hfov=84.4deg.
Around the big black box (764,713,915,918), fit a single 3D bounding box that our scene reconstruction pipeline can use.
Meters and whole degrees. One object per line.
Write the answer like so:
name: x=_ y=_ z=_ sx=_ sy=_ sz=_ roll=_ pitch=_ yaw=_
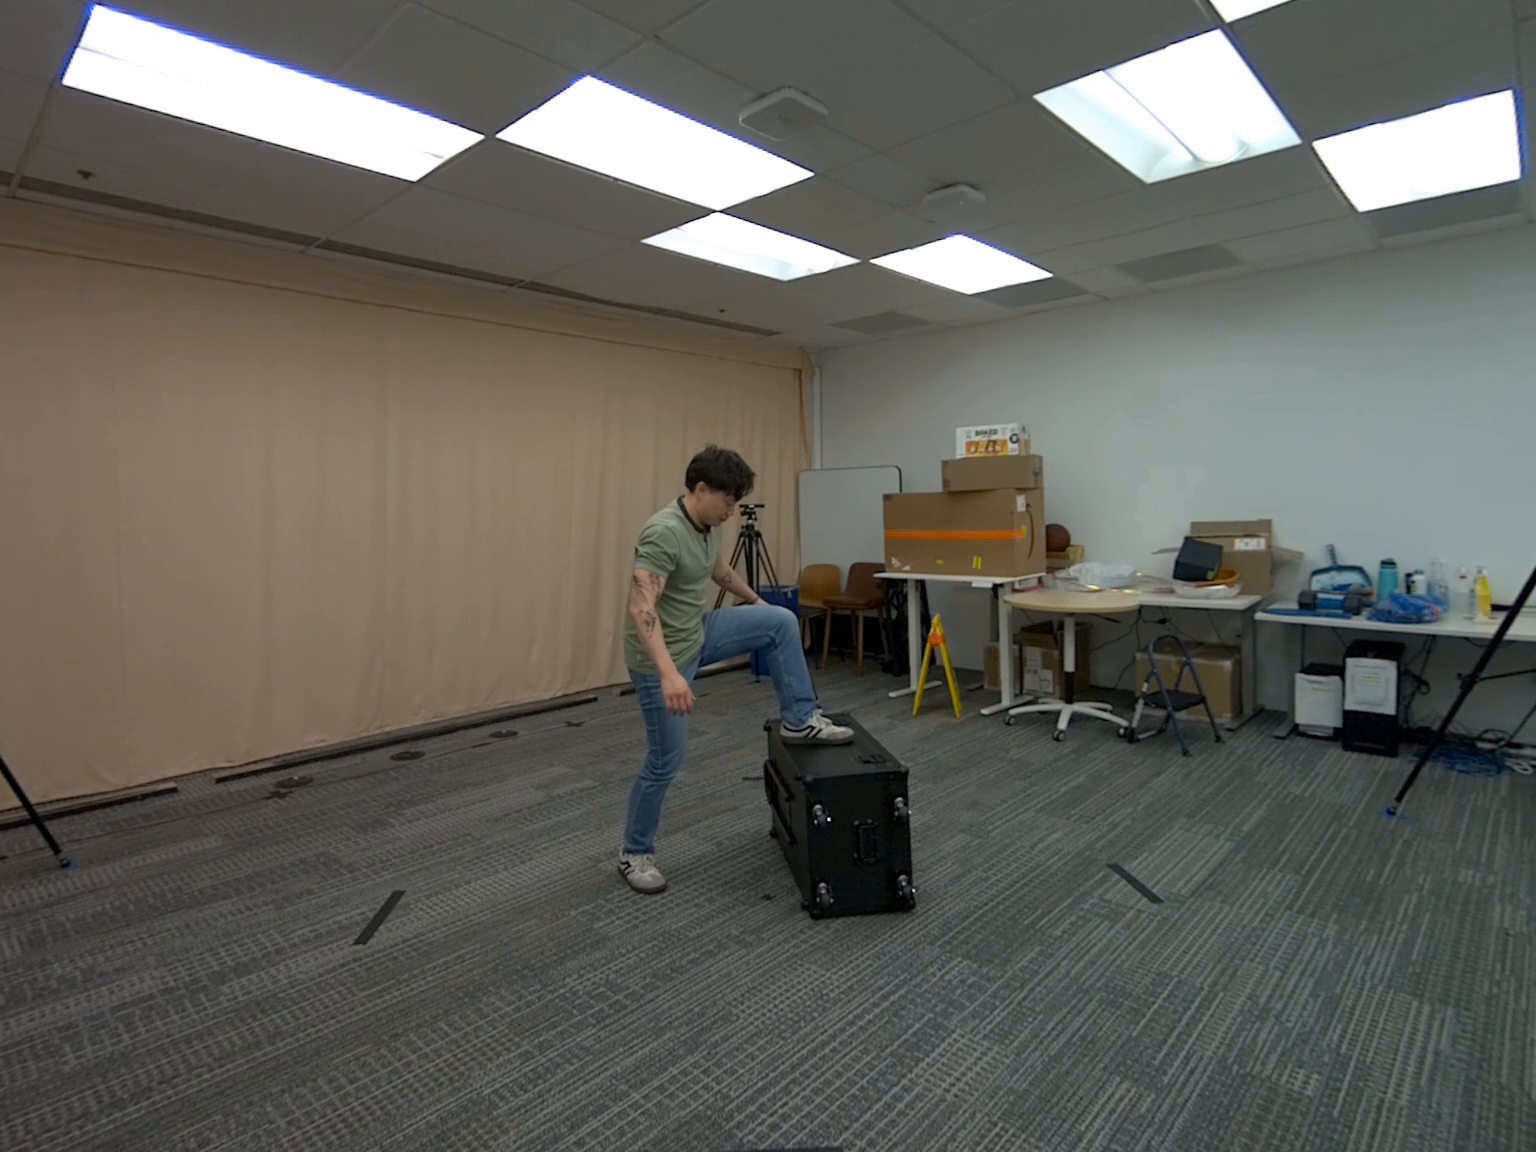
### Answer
big black box: x=0.237 y=0.864 z=3.169 sx=0.393 sy=0.520 sz=0.871 roll=-4 pitch=5 yaw=-9
